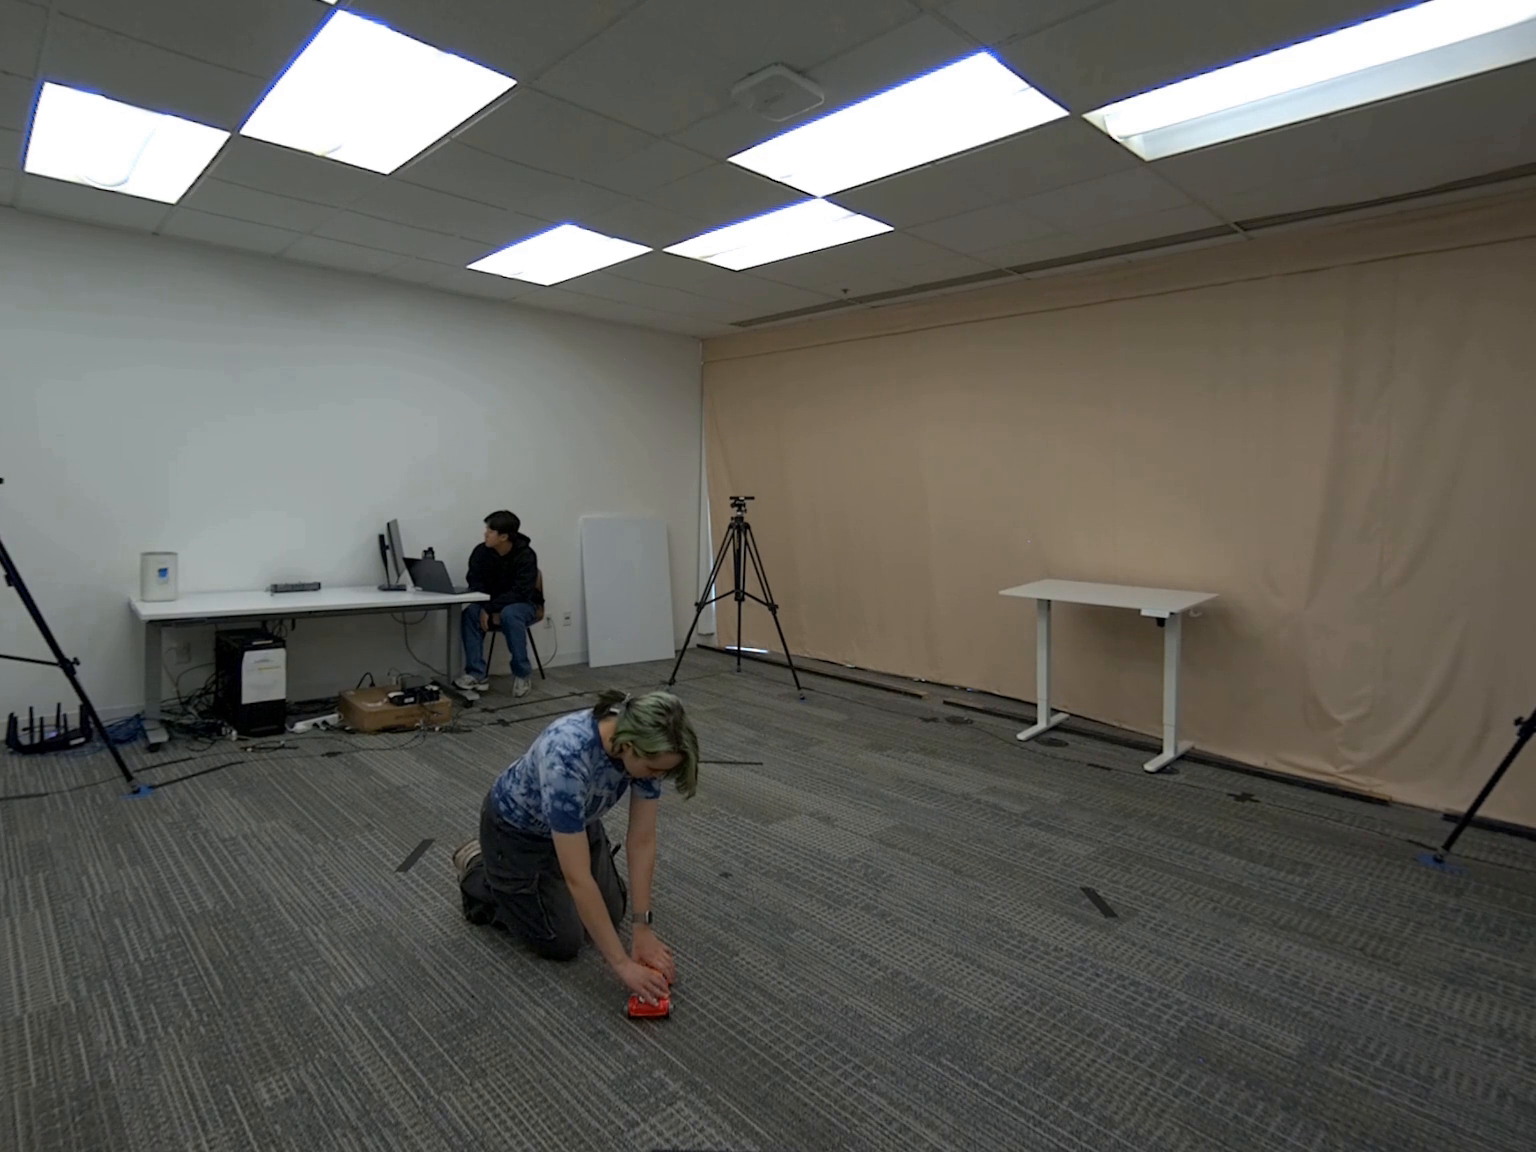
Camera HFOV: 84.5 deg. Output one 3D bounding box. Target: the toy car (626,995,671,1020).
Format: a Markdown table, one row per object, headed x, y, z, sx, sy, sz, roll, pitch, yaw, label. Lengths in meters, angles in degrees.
| x | y | z | sx | sy | sz | roll | pitch | yaw | label |
| --- | --- | --- | --- | --- | --- | --- | --- | --- | --- |
| -0.335 | 1.148 | 2.330 | 0.130 | 0.082 | 0.258 | 2 | 17 | -5 | toy car |
